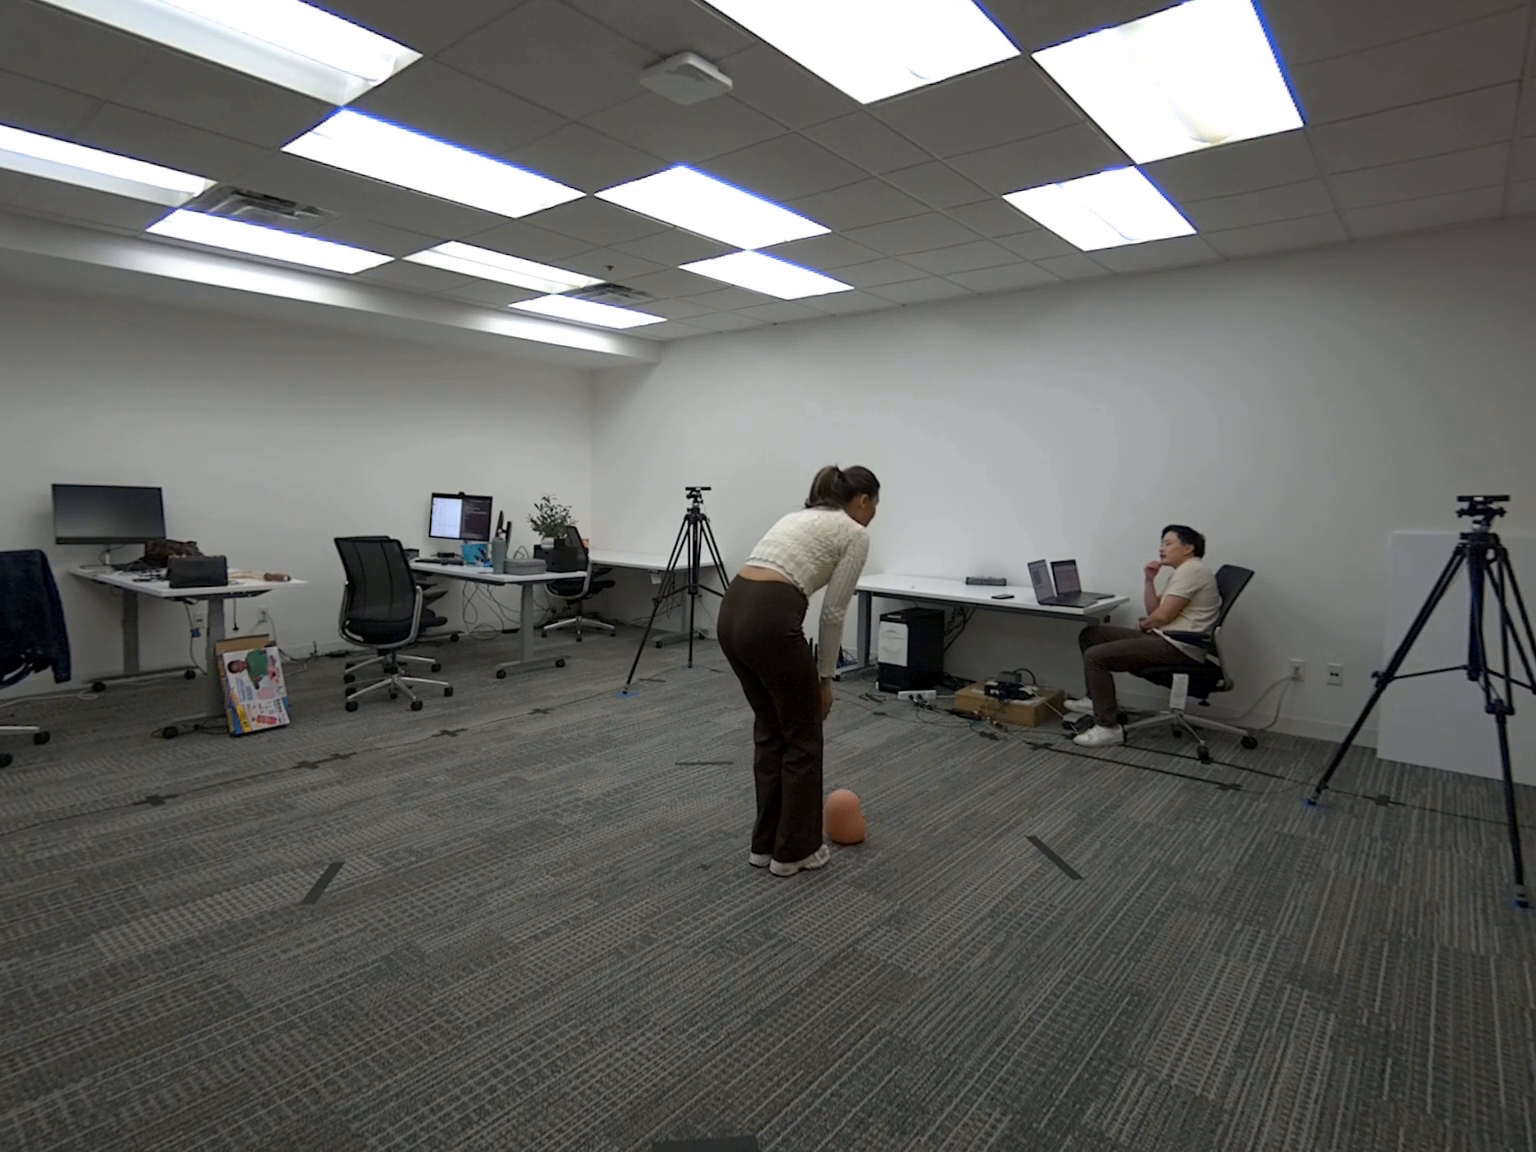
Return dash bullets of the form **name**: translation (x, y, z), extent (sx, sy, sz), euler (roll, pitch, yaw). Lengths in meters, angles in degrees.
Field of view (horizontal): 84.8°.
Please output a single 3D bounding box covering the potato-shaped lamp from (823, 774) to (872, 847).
- **potato-shaped lamp**: translation (0.291, 0.938, 3.383), extent (0.167, 0.197, 0.170), euler (-7, 7, -29)
